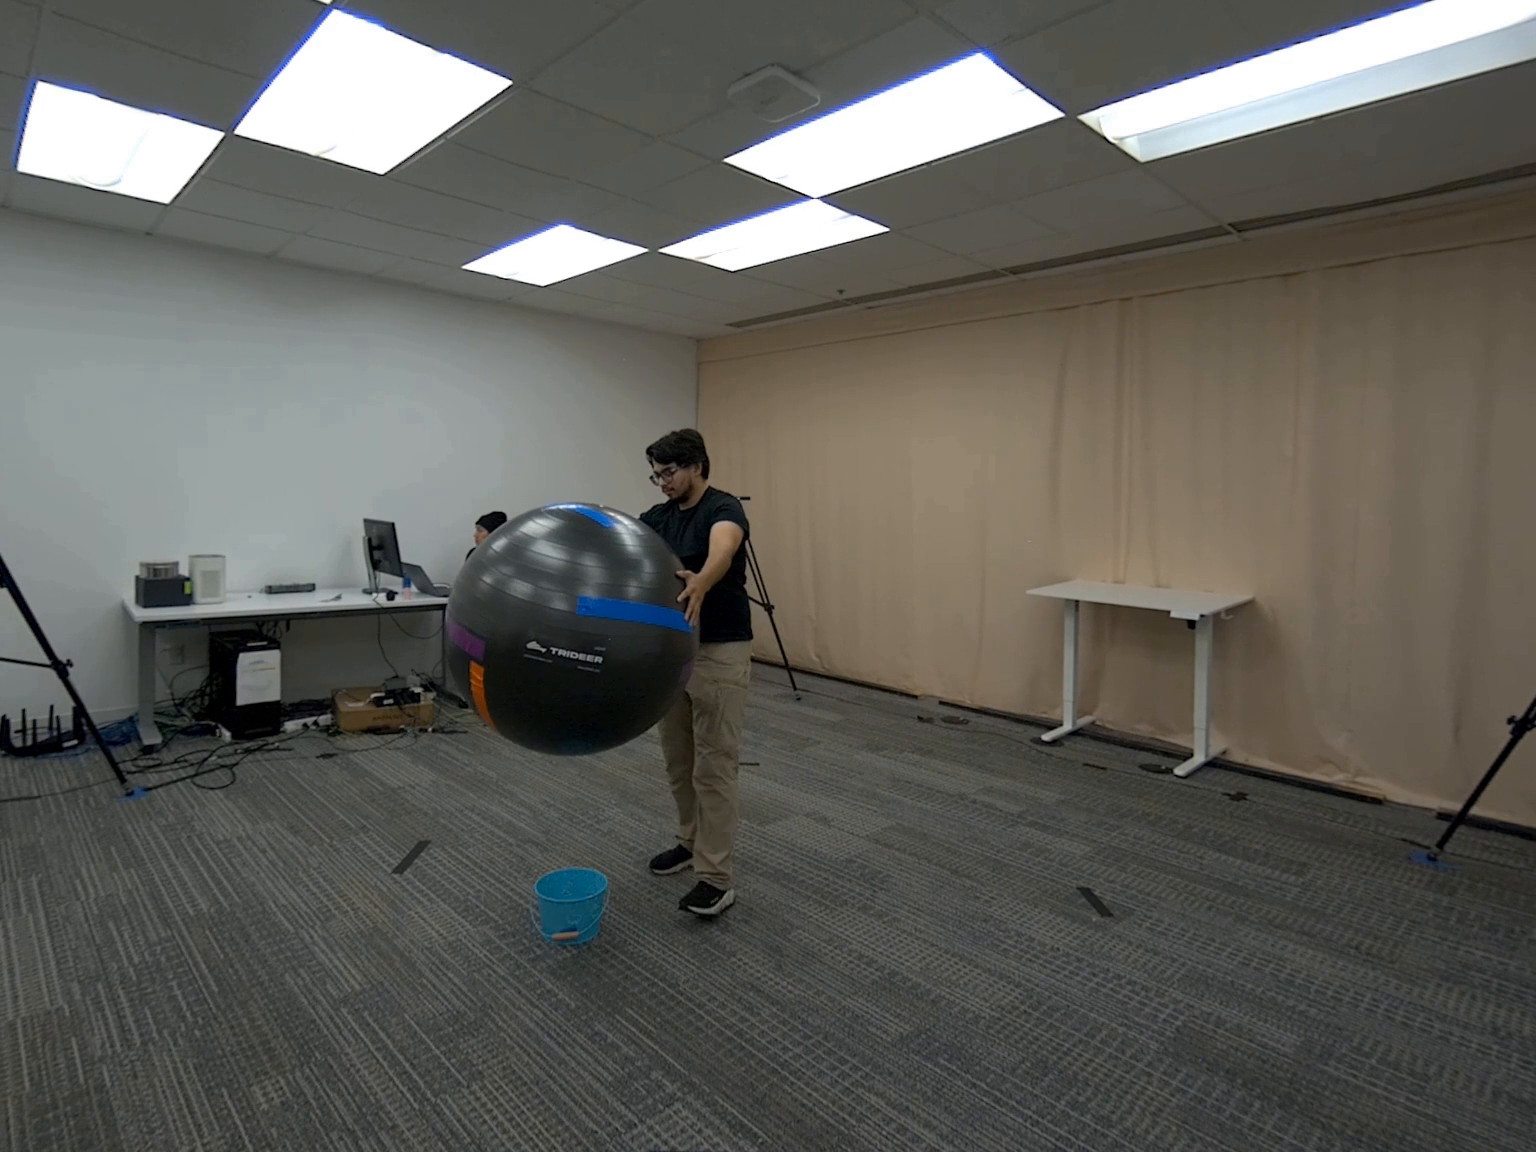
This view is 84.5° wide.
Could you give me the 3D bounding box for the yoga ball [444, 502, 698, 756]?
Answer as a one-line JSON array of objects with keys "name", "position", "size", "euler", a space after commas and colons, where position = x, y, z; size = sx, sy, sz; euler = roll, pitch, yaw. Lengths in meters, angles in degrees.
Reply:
[{"name": "yoga ball", "position": [-0.598, 0.172, 2.542], "size": [0.757, 0.756, 0.760], "euler": [1, 4, -1]}]
